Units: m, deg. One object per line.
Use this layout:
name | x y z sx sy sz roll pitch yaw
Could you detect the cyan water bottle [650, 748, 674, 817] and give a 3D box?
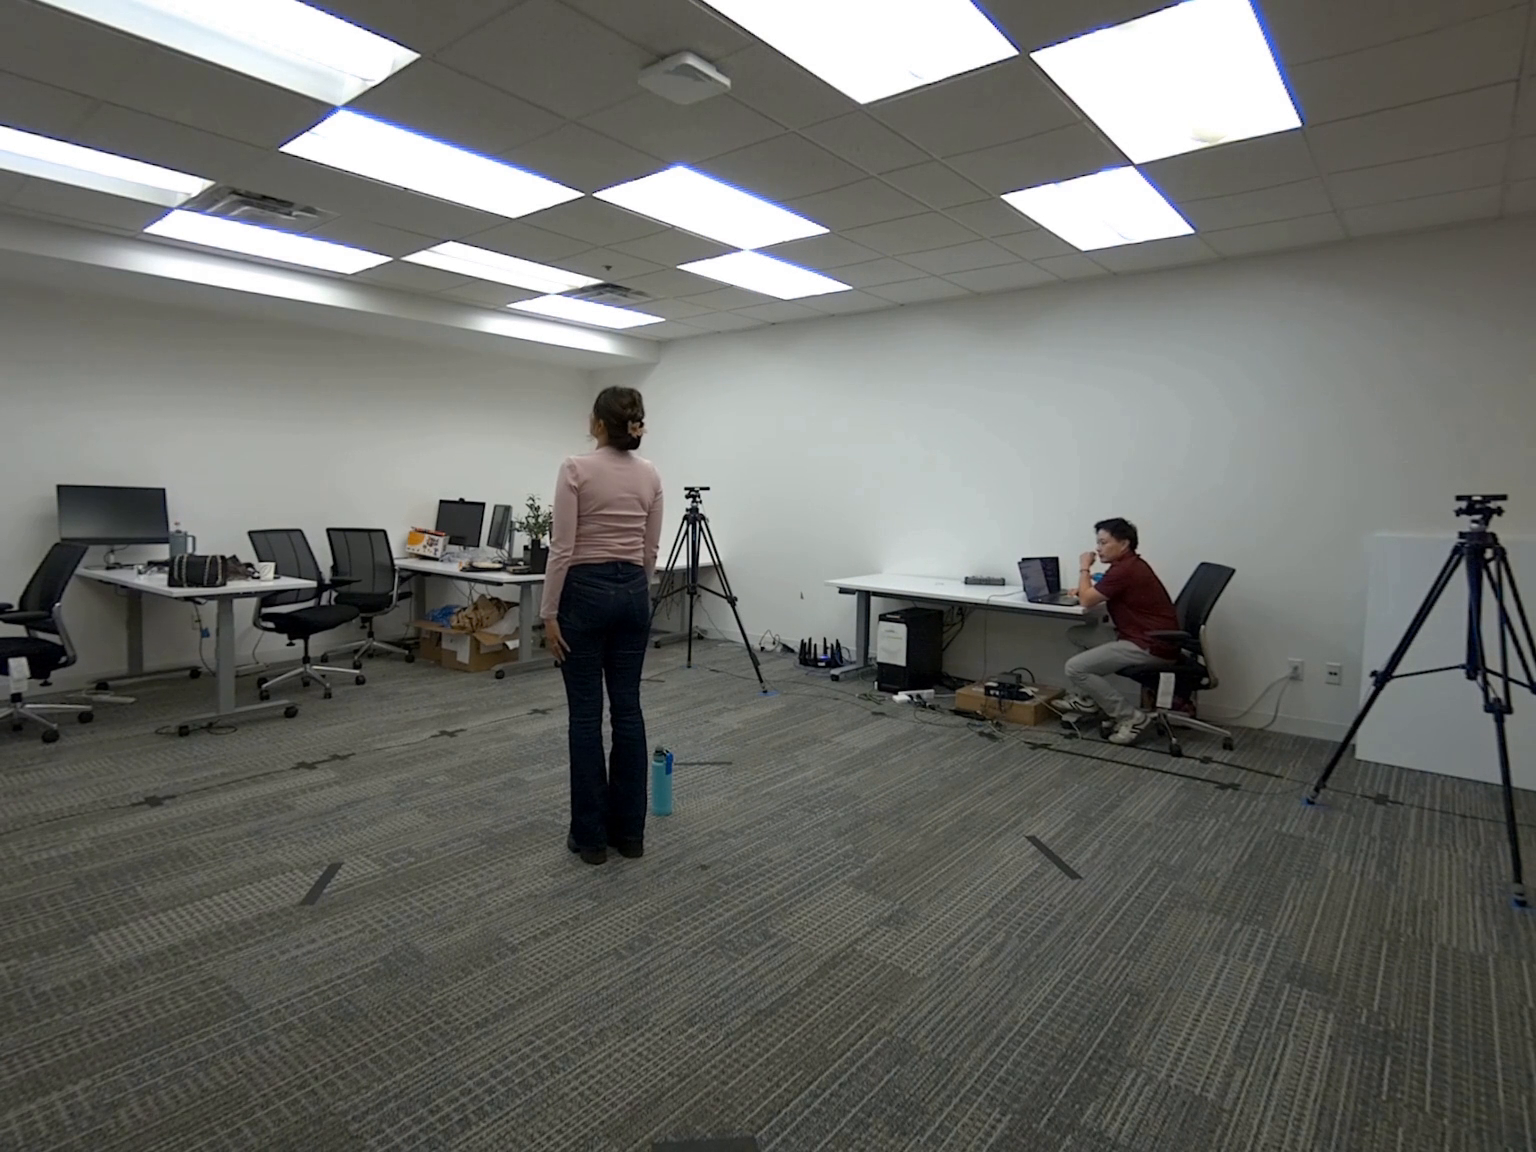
cyan water bottle | -0.467 0.872 3.642 0.092 0.283 0.093 1 3 -2
